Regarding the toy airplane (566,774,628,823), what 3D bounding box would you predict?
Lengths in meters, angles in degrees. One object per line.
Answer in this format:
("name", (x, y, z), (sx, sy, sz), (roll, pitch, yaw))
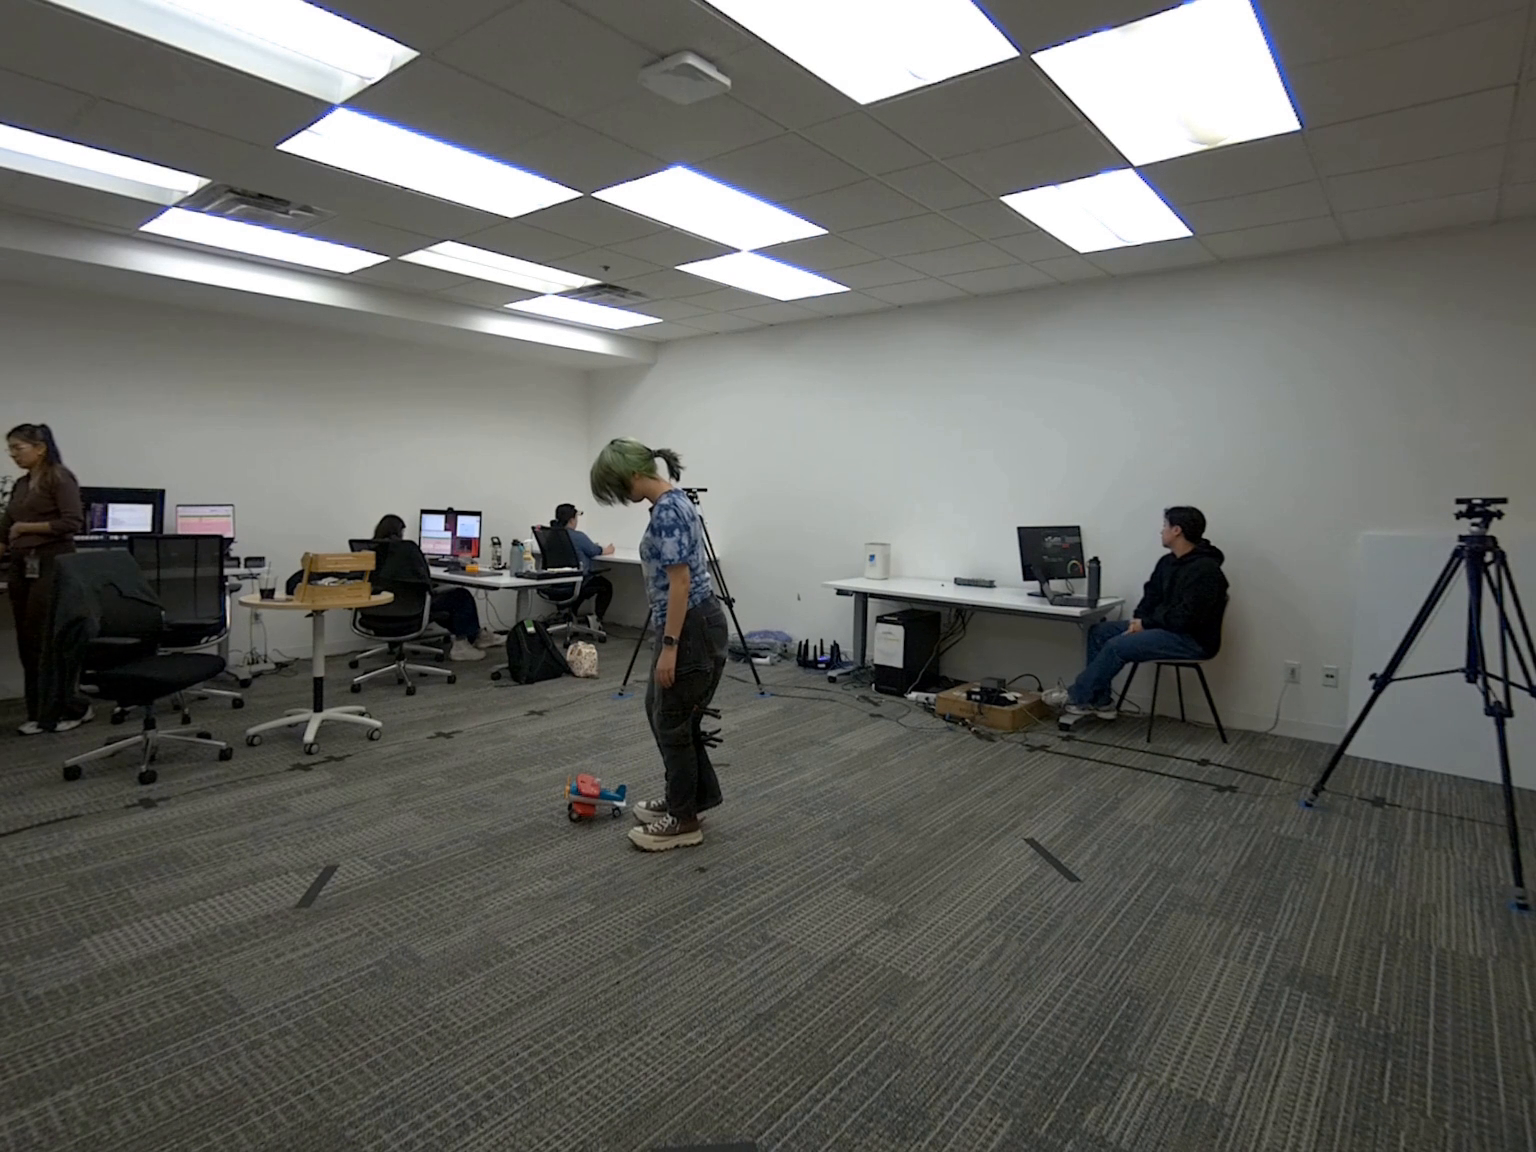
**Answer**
("toy airplane", (-0.751, 0.944, 3.625), (0.251, 0.156, 0.259), (-4, 6, -40))
